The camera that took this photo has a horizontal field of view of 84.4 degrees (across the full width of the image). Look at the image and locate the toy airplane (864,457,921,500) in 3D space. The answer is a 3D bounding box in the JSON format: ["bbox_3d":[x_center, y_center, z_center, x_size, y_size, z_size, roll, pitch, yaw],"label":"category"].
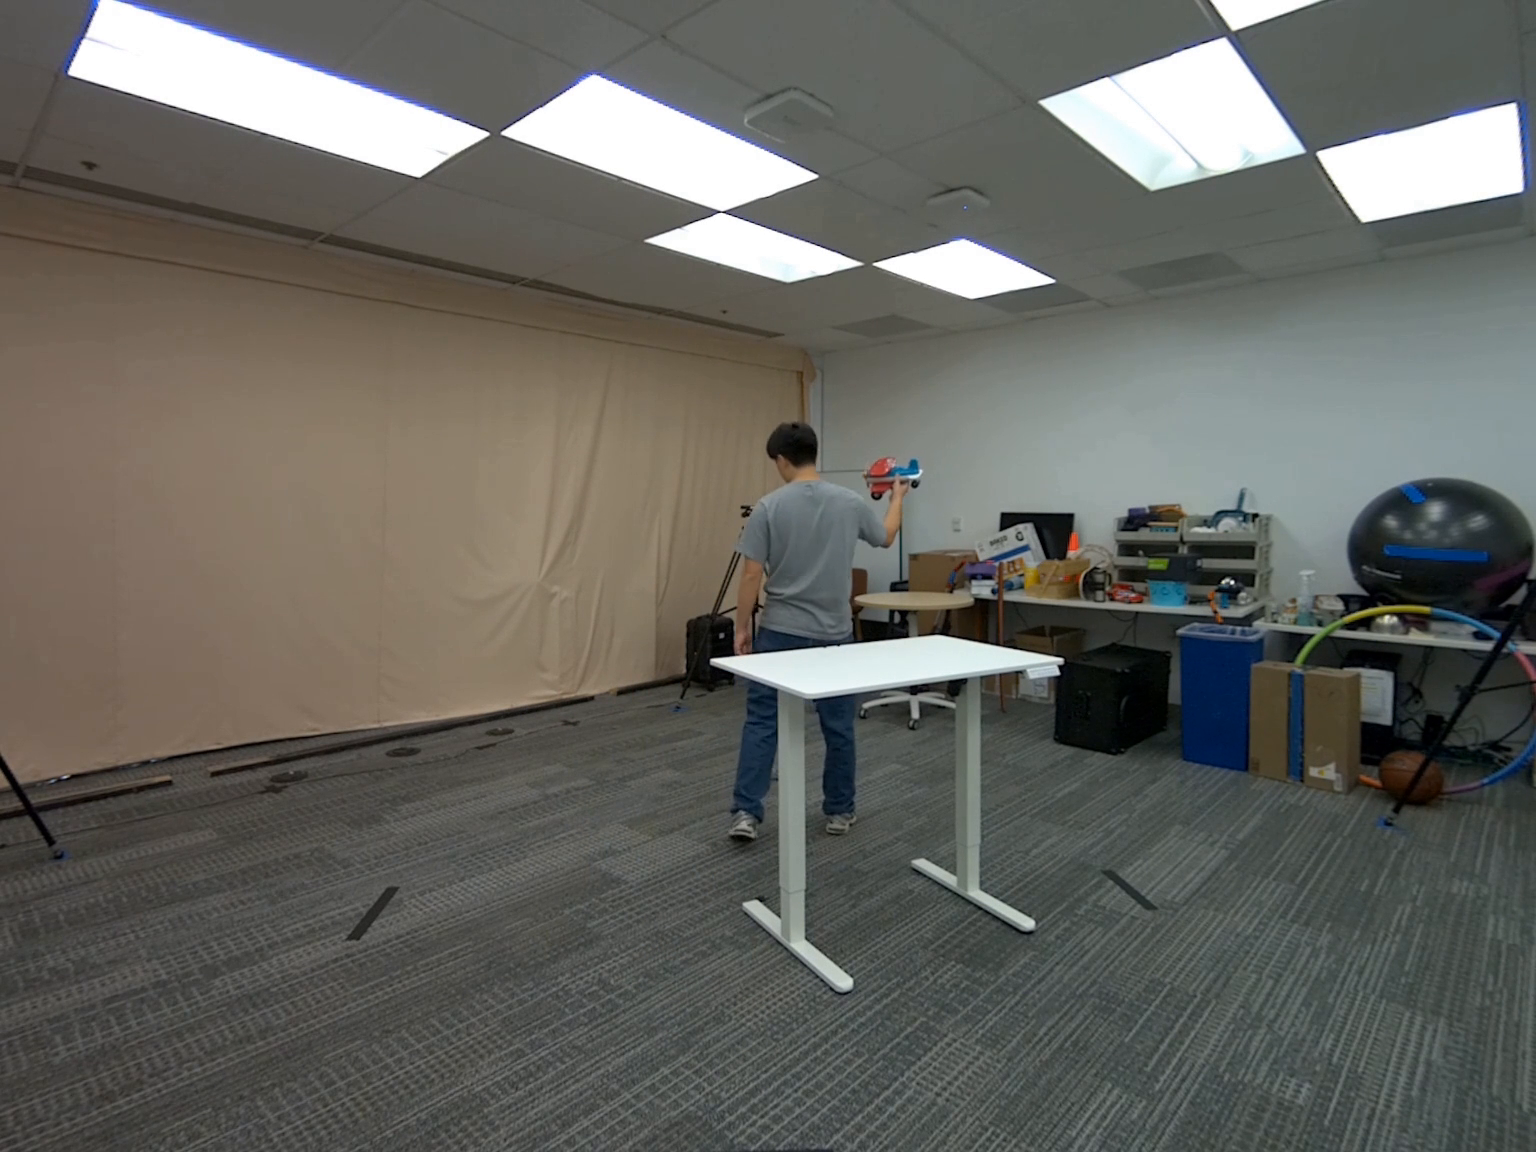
[{"bbox_3d":[0.571,-0.462,3.905,0.259,0.154,0.255,-23,17,1],"label":"toy airplane"}]
